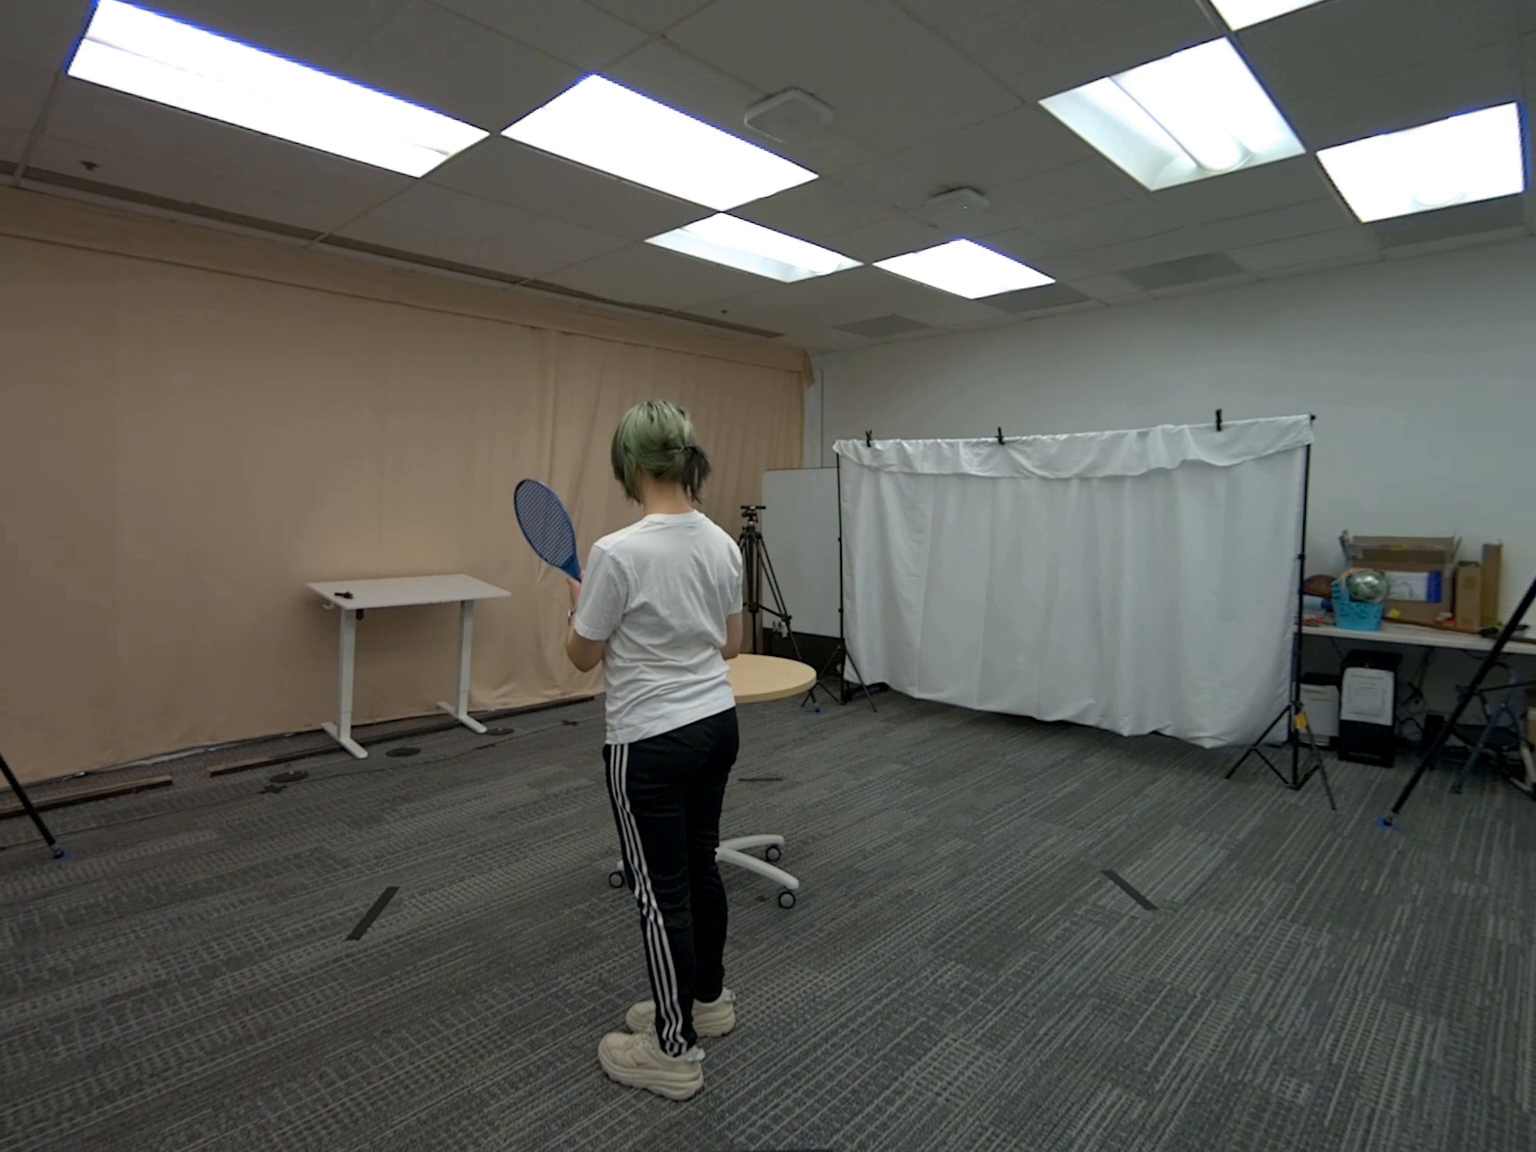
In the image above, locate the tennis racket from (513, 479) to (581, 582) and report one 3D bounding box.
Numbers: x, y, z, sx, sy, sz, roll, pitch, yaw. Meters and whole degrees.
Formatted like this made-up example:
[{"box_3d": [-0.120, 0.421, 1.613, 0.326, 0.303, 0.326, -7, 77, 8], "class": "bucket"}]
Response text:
[{"box_3d": [-0.561, -0.081, 2.300, 0.031, 0.438, 0.215, -27, -16, -47], "class": "tennis racket"}]
